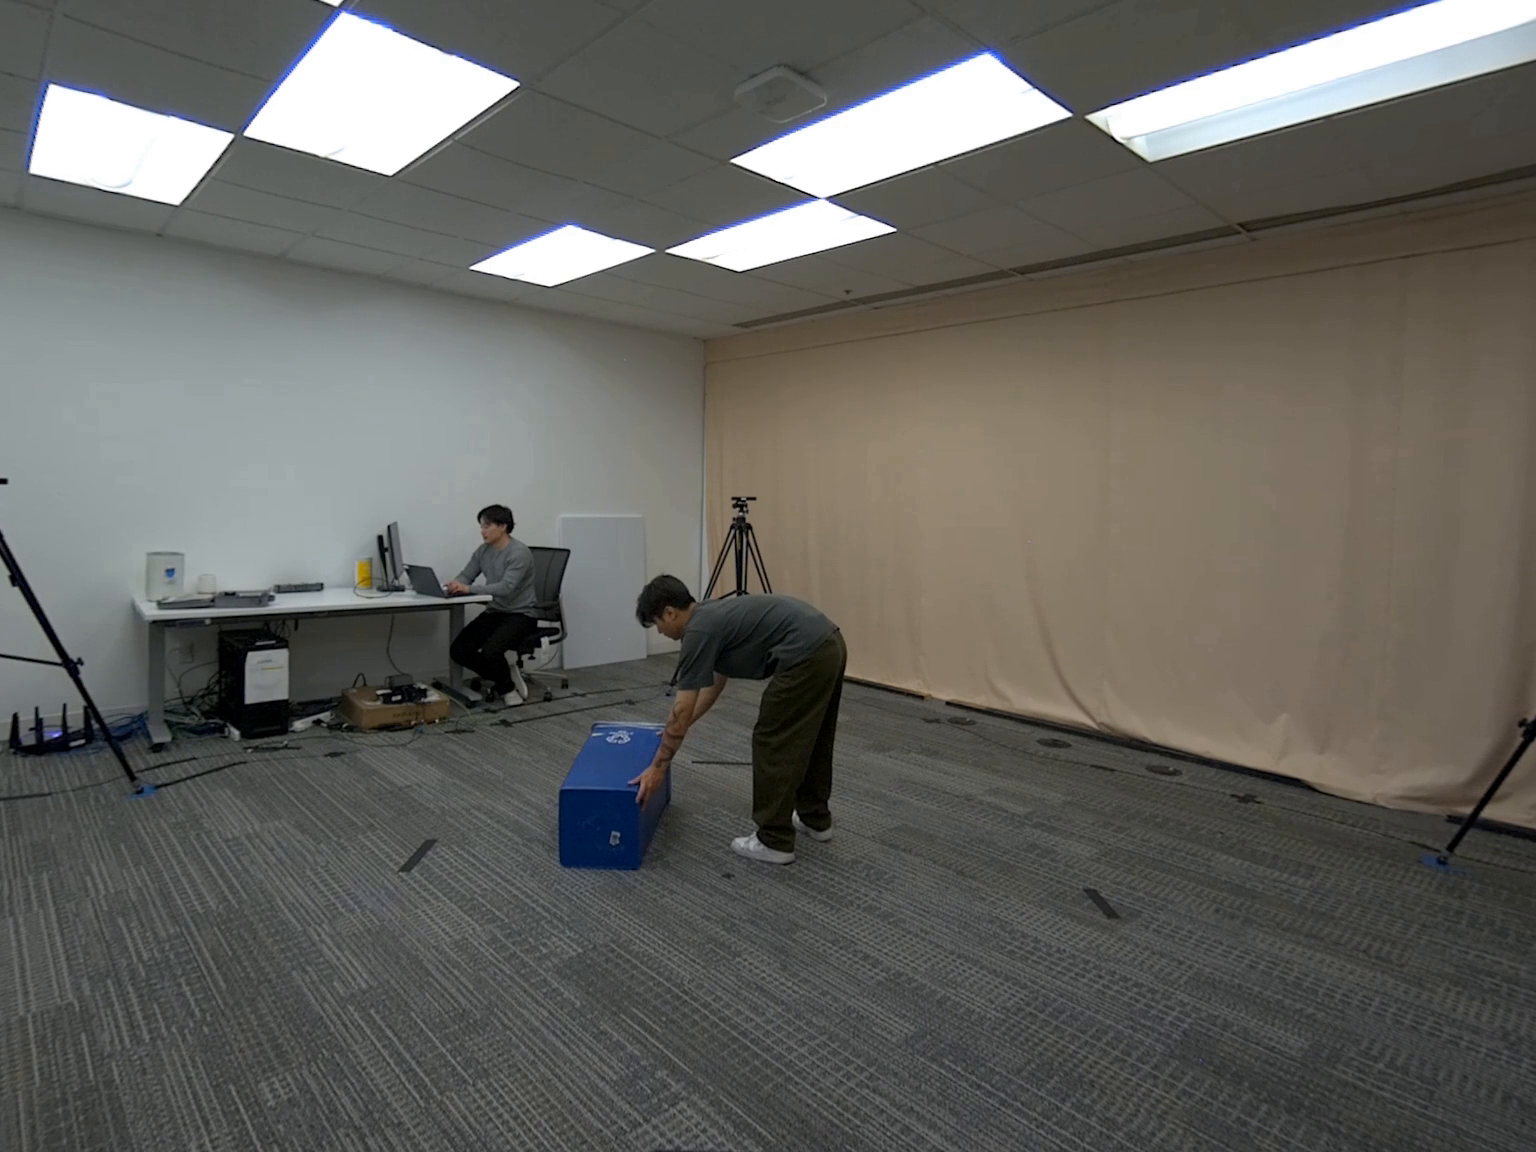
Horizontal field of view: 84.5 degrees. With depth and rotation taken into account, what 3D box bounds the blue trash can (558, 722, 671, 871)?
[{"bbox_3d":[-0.627,0.887,3.472,0.378,0.372,0.715,2,6,0],"label":"blue trash can"}]
